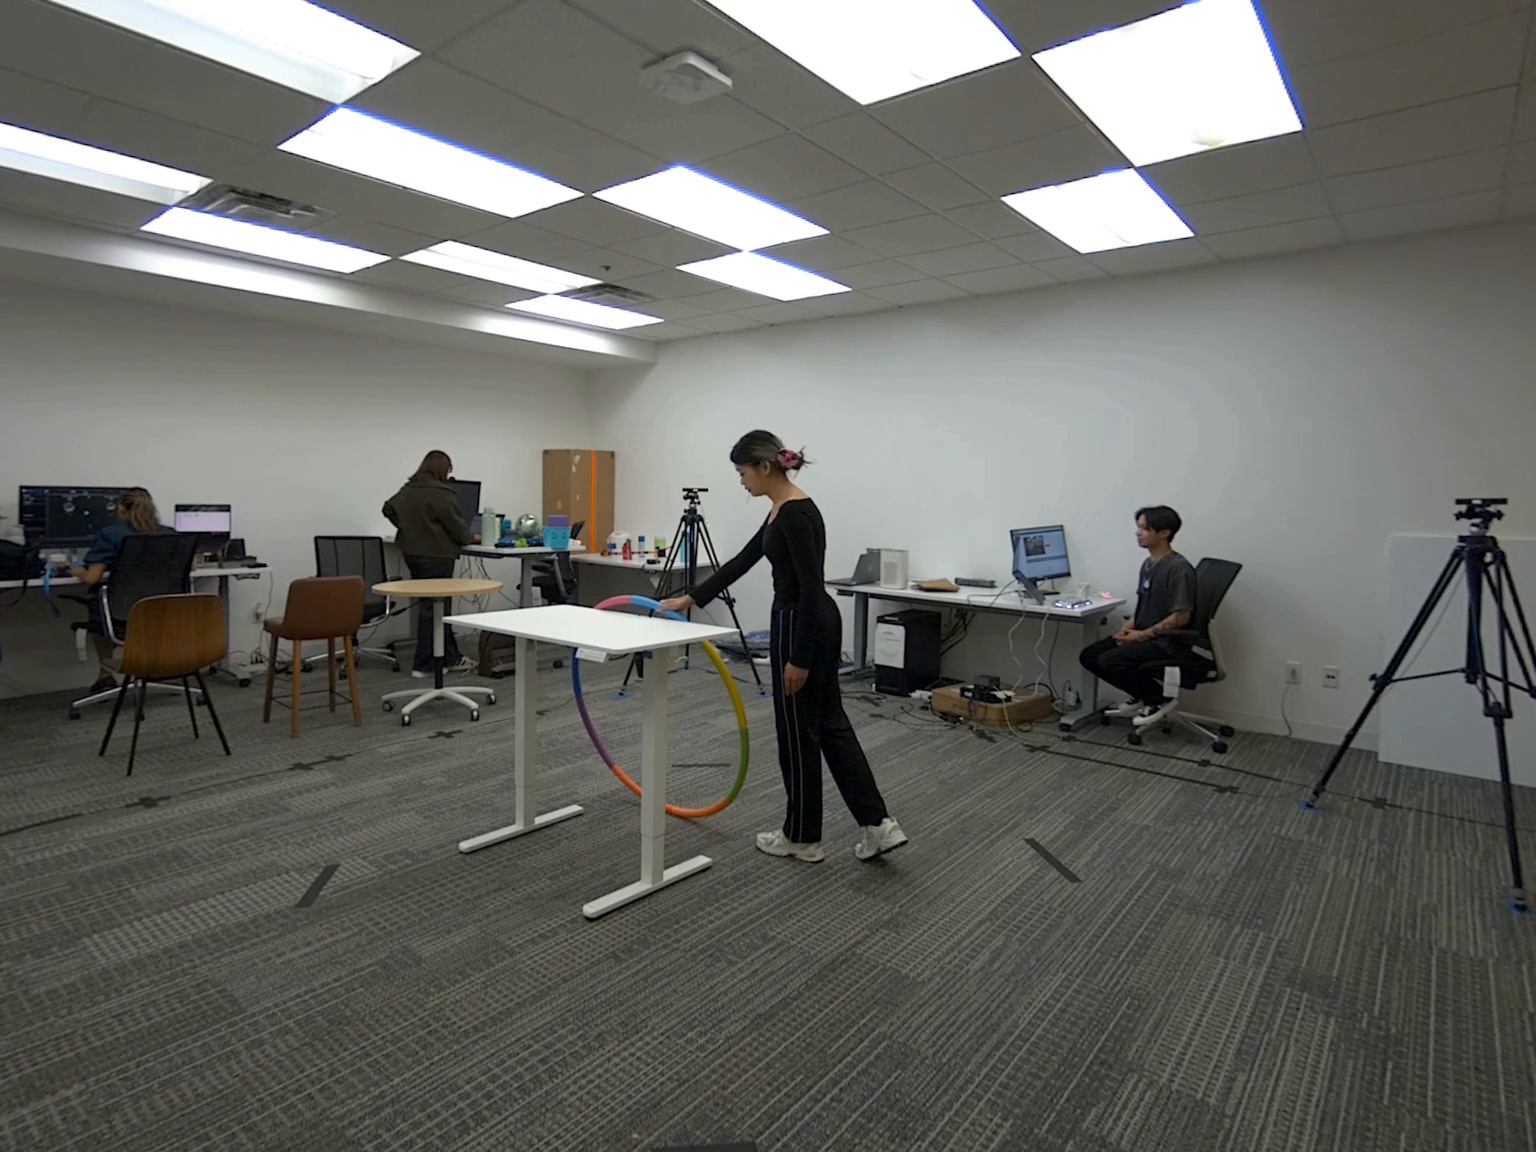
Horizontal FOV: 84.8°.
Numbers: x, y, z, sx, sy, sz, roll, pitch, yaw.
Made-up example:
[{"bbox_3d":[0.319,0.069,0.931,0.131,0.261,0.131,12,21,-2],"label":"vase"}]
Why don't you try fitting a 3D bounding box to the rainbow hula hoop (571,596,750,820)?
[{"bbox_3d":[-0.491,0.549,3.540,1.011,0.964,0.035,4,18,38],"label":"rainbow hula hoop"}]
